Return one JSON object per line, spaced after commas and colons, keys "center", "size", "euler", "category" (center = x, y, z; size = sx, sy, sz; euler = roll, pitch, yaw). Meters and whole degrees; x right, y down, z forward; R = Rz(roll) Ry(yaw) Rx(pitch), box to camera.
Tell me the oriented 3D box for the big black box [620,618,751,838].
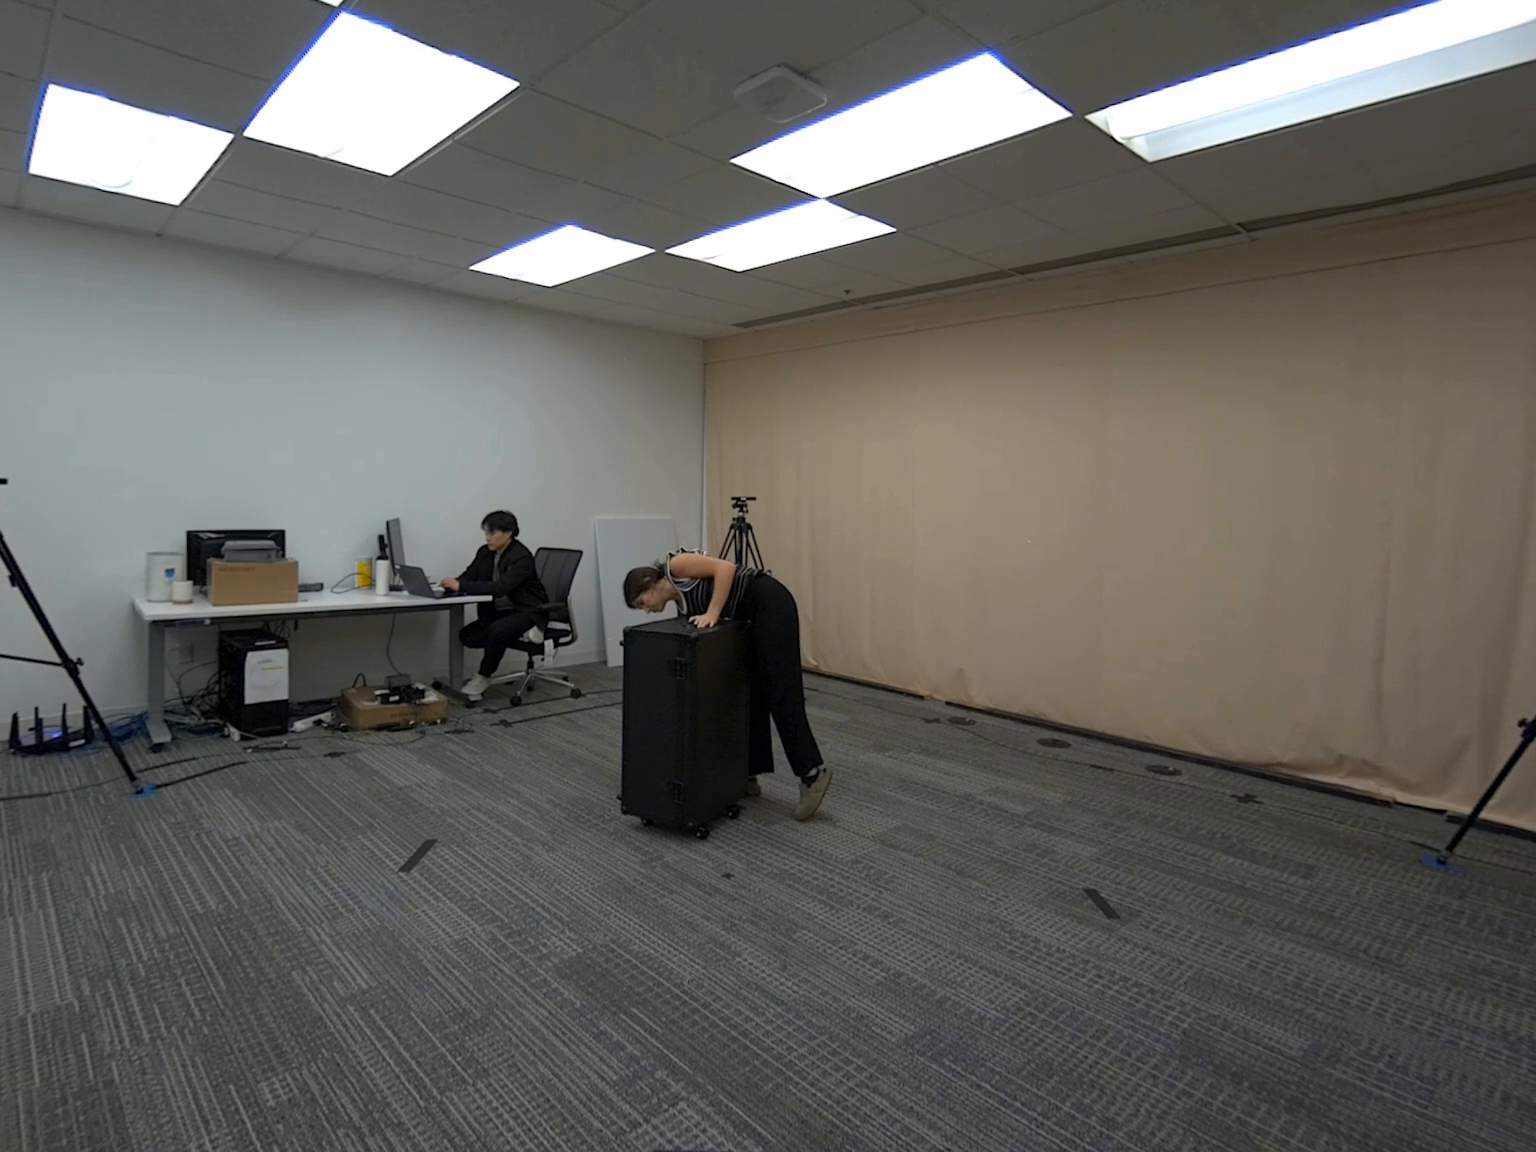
{"center": [-0.367, 0.639, 3.613], "size": [0.404, 0.861, 0.511], "euler": [1, 2, 29], "category": "big black box"}
